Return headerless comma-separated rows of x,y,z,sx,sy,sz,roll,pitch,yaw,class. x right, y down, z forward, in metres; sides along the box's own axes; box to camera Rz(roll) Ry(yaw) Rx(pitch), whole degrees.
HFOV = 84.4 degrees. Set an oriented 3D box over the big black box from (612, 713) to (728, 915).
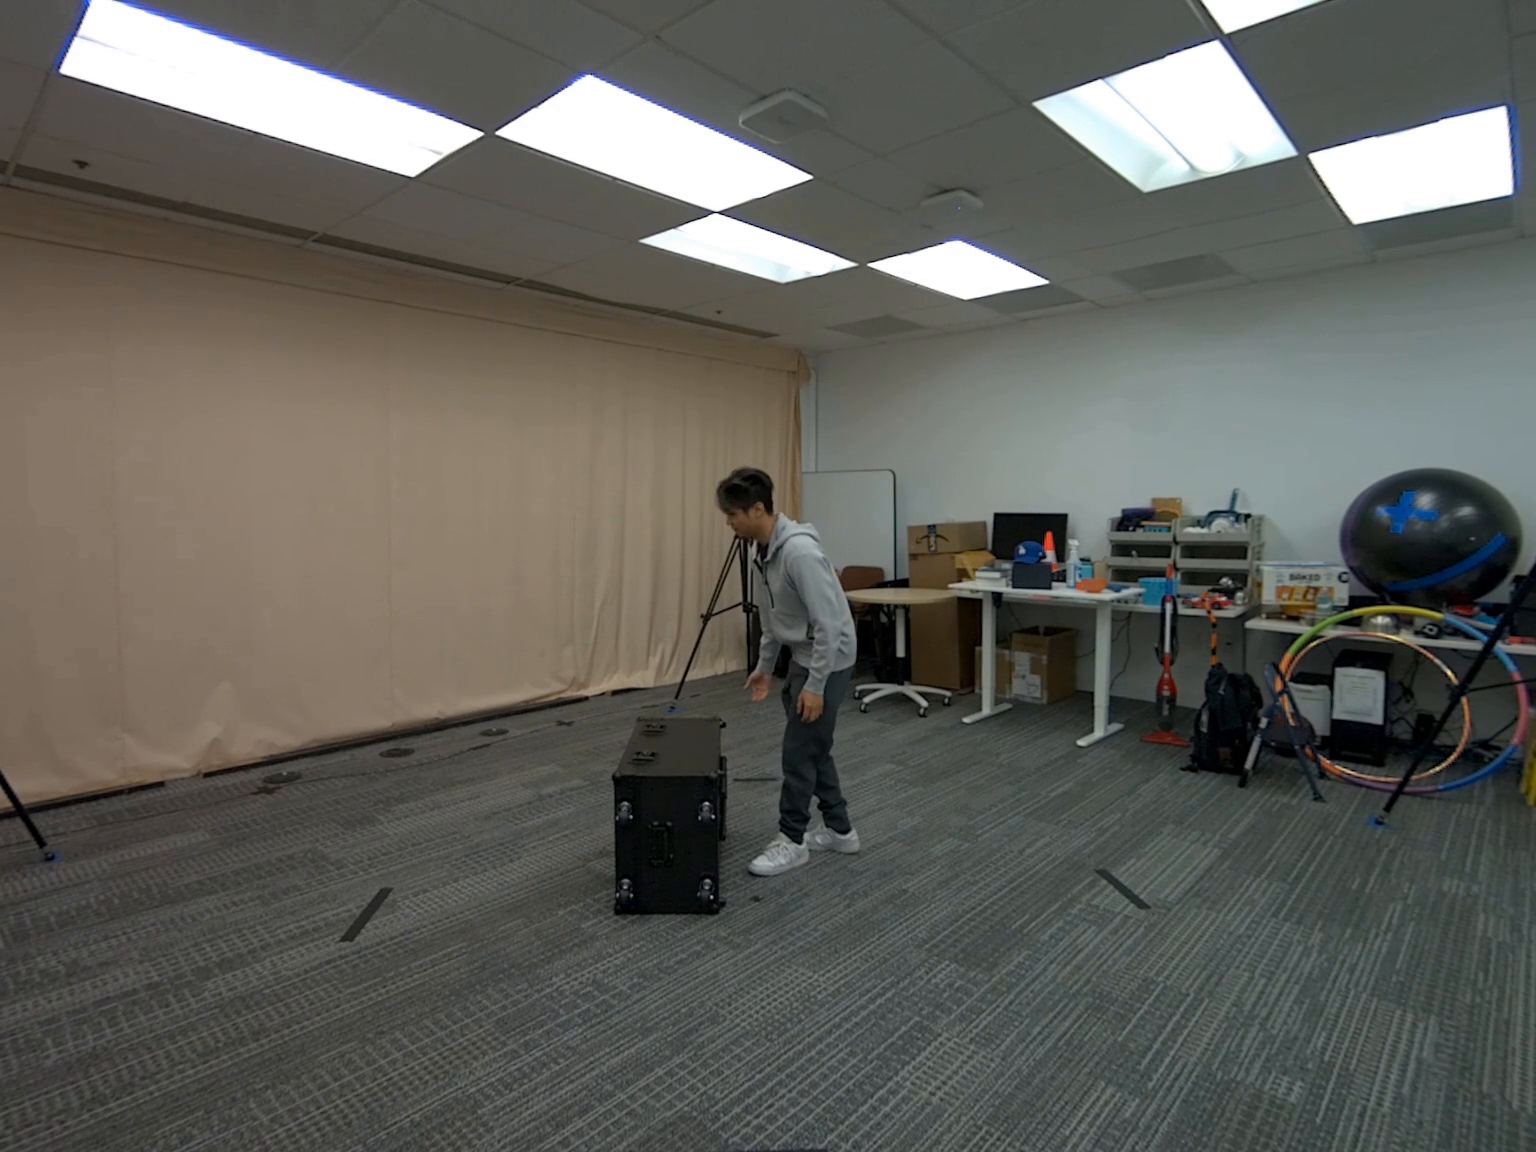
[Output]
-0.347,0.883,3.210,0.396,0.520,0.863,0,4,-1,big black box
